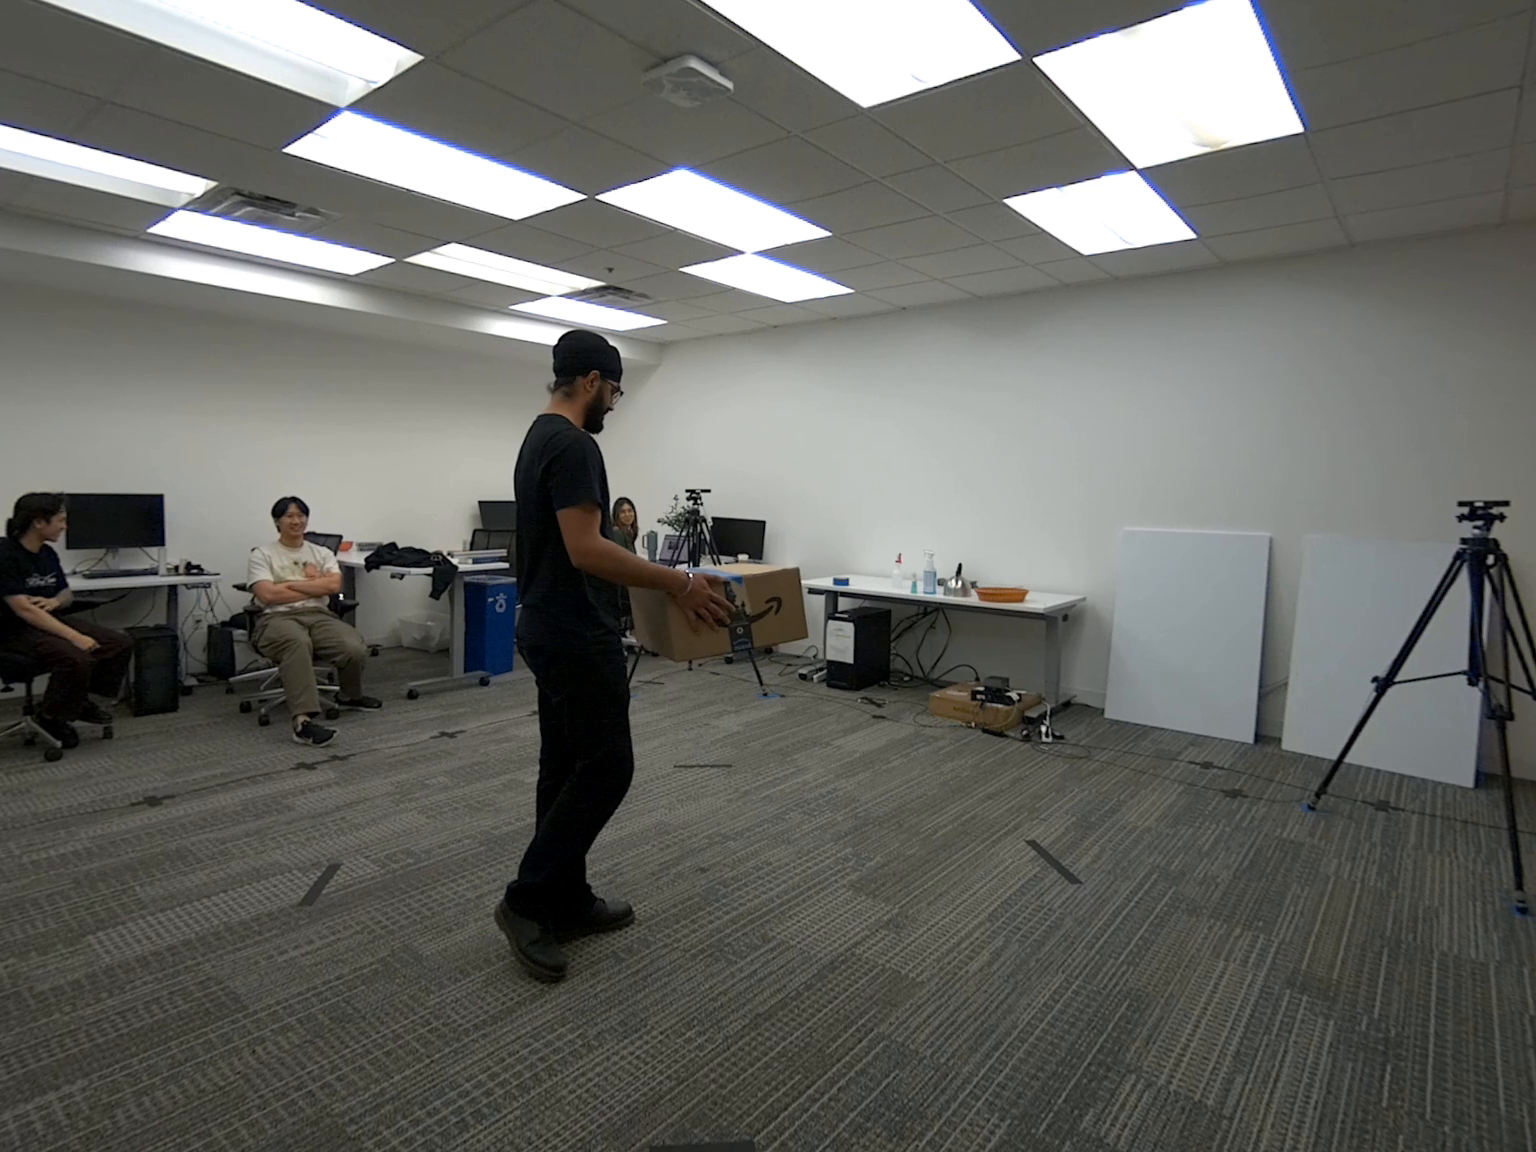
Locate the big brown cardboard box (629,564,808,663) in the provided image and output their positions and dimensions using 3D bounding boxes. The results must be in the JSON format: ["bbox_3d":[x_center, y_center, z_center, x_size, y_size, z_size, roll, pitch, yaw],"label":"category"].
[{"bbox_3d":[-0.200,0.095,2.735,0.410,0.232,0.602,-8,6,-21],"label":"big brown cardboard box"}]
